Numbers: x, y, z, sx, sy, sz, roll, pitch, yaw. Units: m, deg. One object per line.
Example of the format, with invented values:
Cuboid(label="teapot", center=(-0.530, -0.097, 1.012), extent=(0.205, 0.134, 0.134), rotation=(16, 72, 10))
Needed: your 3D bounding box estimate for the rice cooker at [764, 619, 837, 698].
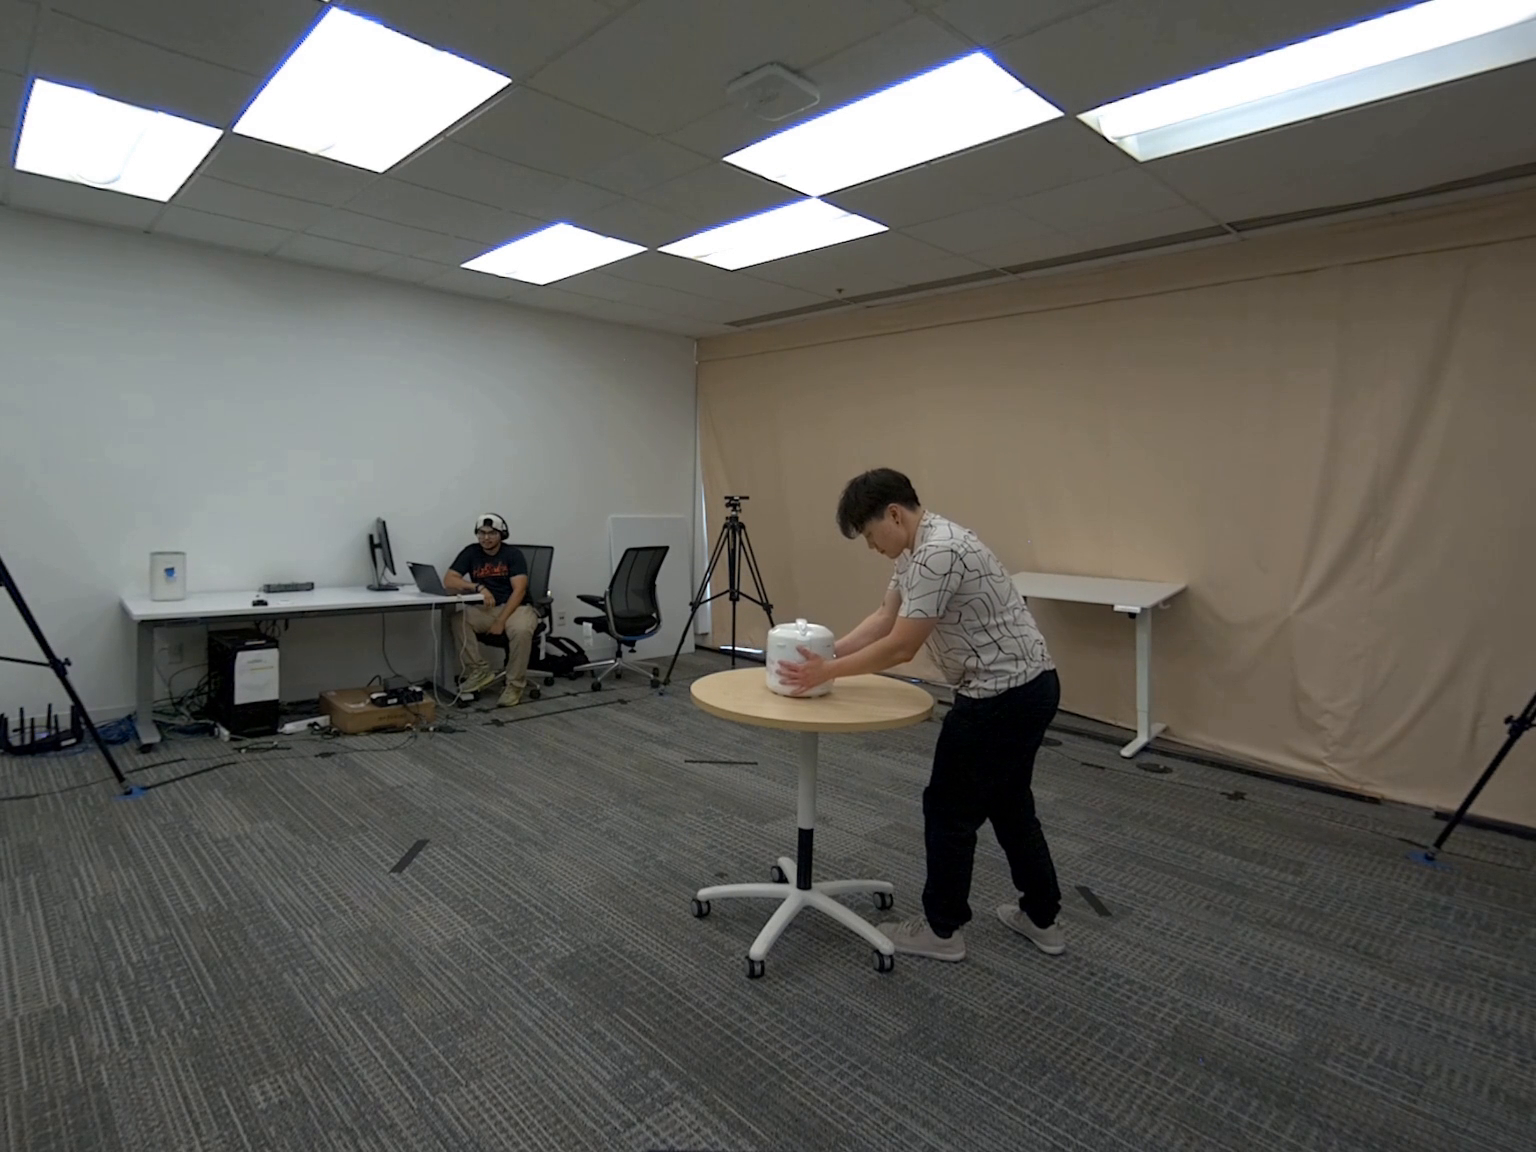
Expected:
Cuboid(label="rice cooker", center=(0.101, 0.253, 2.658), extent=(0.217, 0.232, 0.221), rotation=(2, 5, -1))
